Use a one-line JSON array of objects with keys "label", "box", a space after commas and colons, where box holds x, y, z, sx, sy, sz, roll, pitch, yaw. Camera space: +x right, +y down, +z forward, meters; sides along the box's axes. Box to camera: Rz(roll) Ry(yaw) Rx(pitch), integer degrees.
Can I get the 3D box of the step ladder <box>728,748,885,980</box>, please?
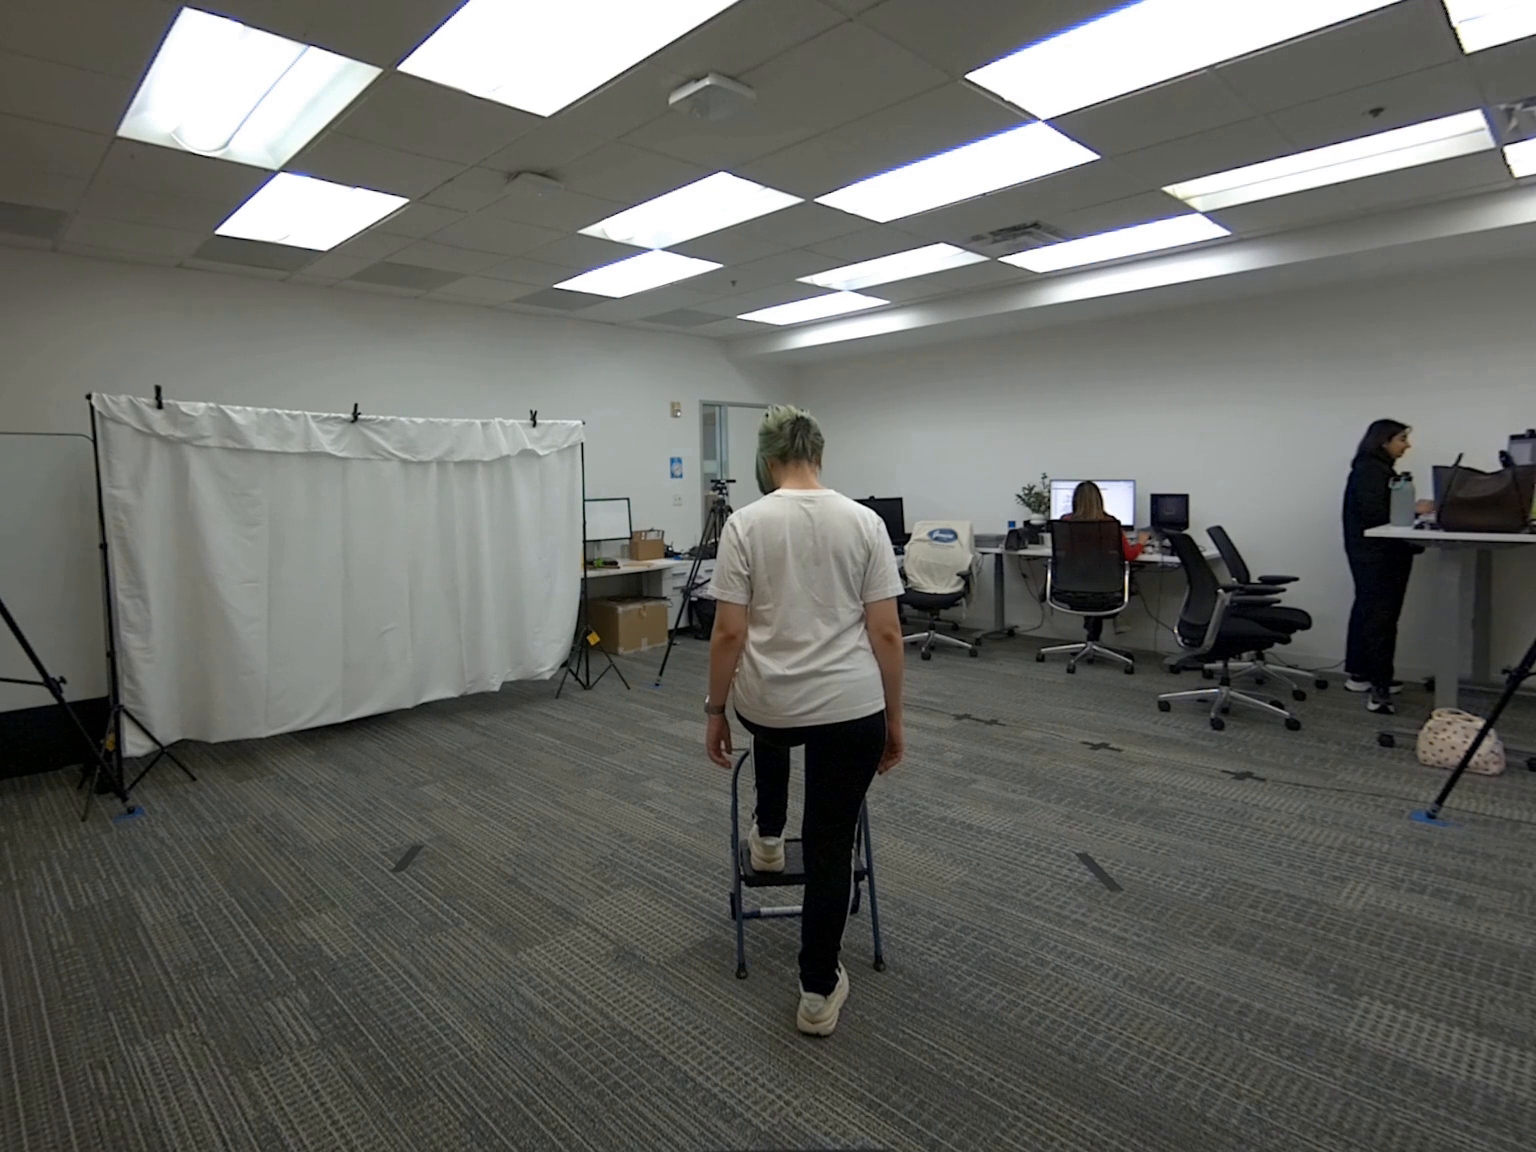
[{"label": "step ladder", "box": [0.106, 0.812, 2.565, 0.429, 0.604, 0.352, -1, 4, -5]}]
